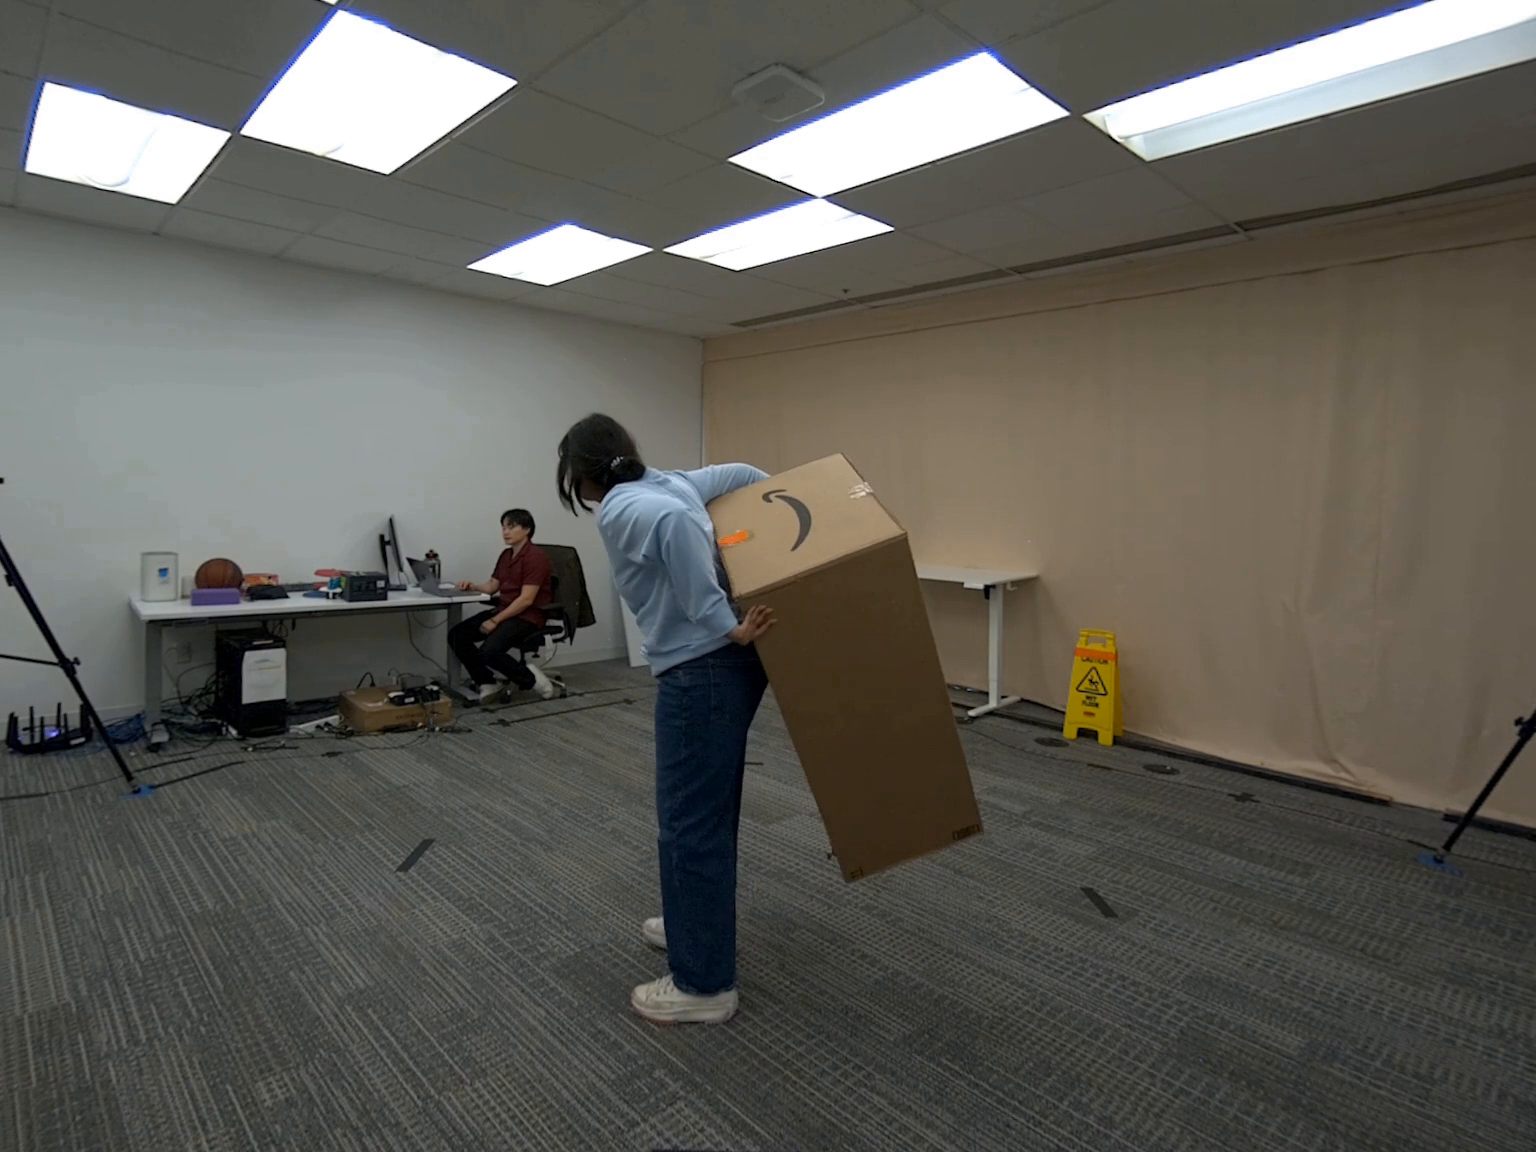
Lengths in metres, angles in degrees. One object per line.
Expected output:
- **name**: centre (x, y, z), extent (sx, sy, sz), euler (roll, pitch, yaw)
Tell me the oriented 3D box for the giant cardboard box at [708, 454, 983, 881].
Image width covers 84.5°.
- **giant cardboard box**: centre (0.210, 0.265, 2.410), extent (0.426, 1.002, 0.591), euler (-20, 28, -1)
